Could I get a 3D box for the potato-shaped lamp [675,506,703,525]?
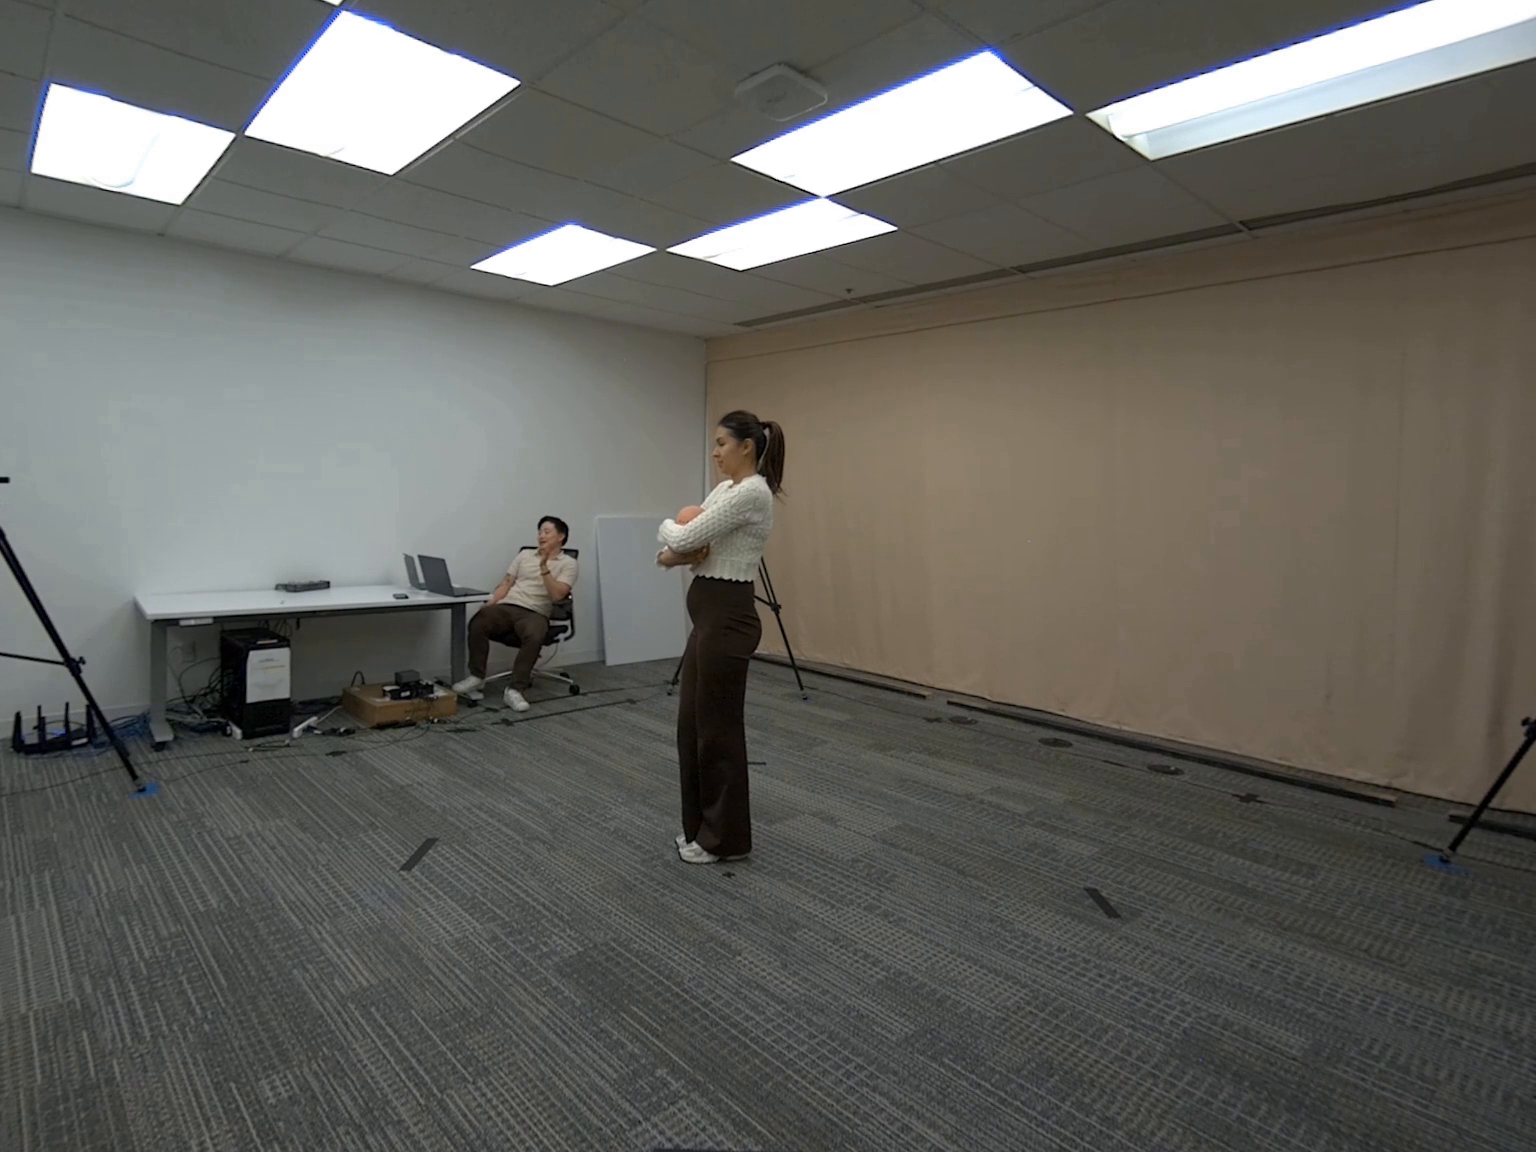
[{"bbox_3d":[-0.248,-0.164,3.176,0.171,0.194,0.167,-13,22,1],"label":"potato-shaped lamp"}]
